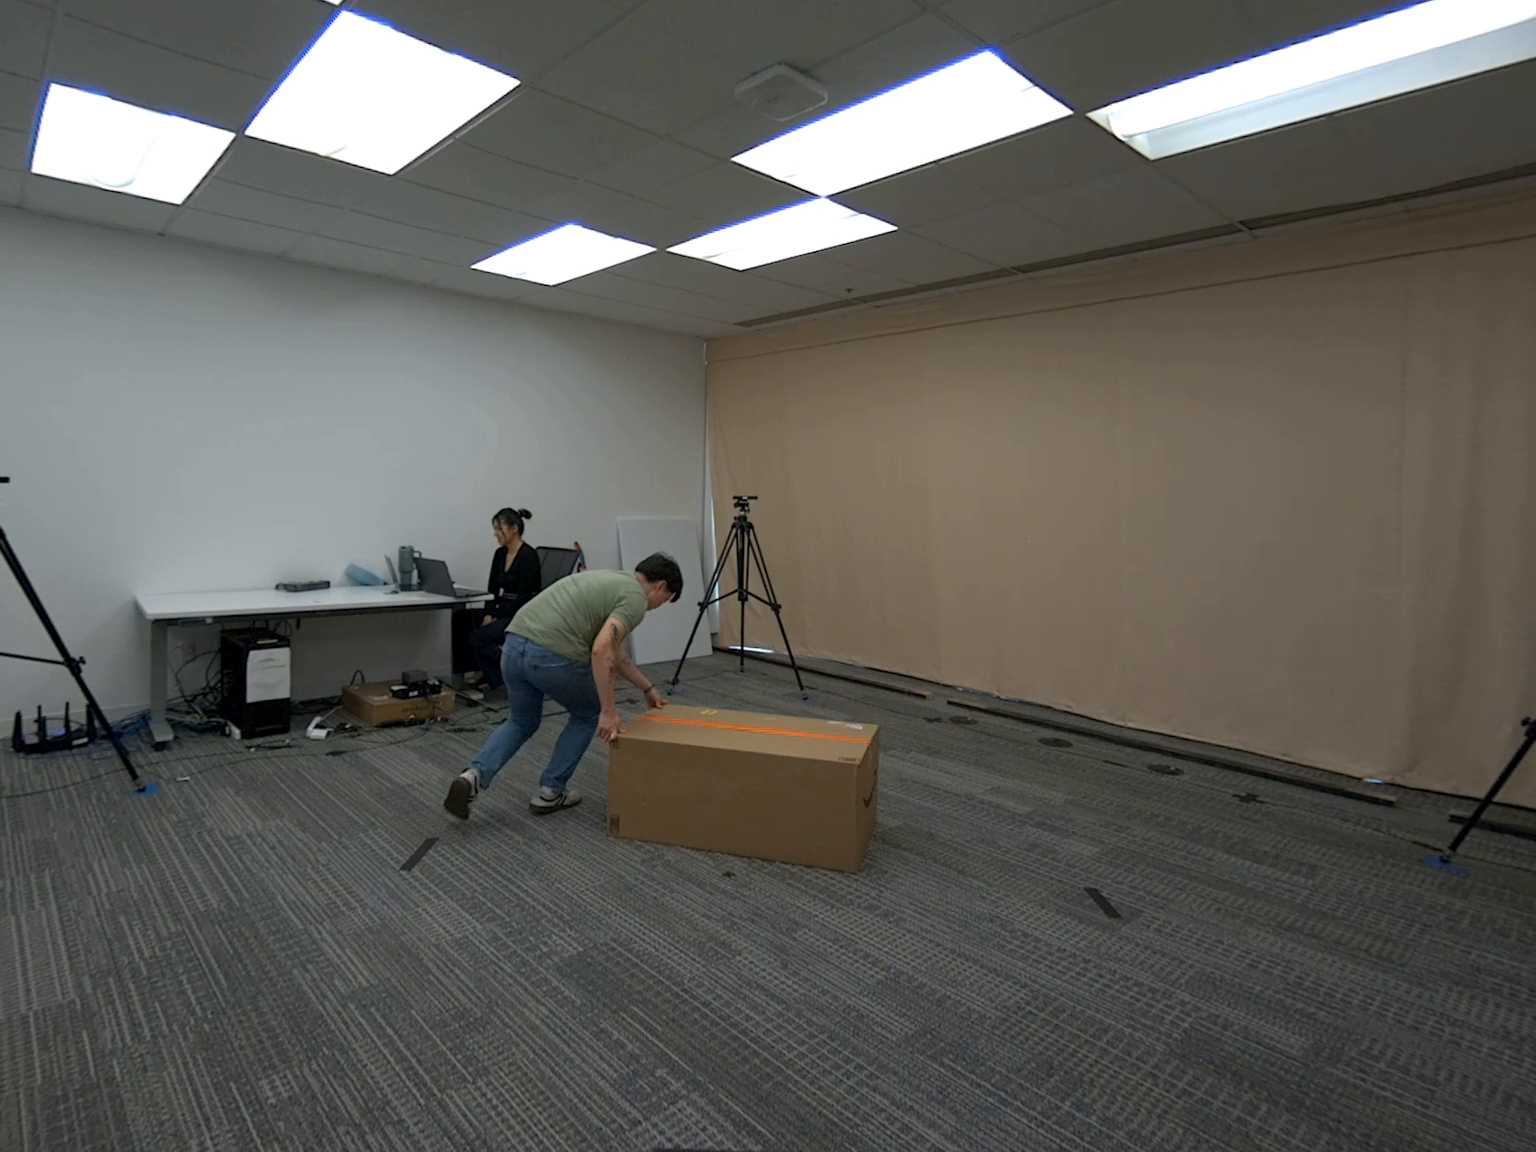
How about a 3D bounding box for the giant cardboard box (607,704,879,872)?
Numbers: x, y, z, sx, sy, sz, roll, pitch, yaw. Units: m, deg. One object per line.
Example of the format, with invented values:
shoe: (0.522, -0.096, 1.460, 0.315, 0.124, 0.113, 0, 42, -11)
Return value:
giant cardboard box: (-0.089, 0.851, 3.535, 1.040, 0.425, 0.571, 2, 4, 17)
